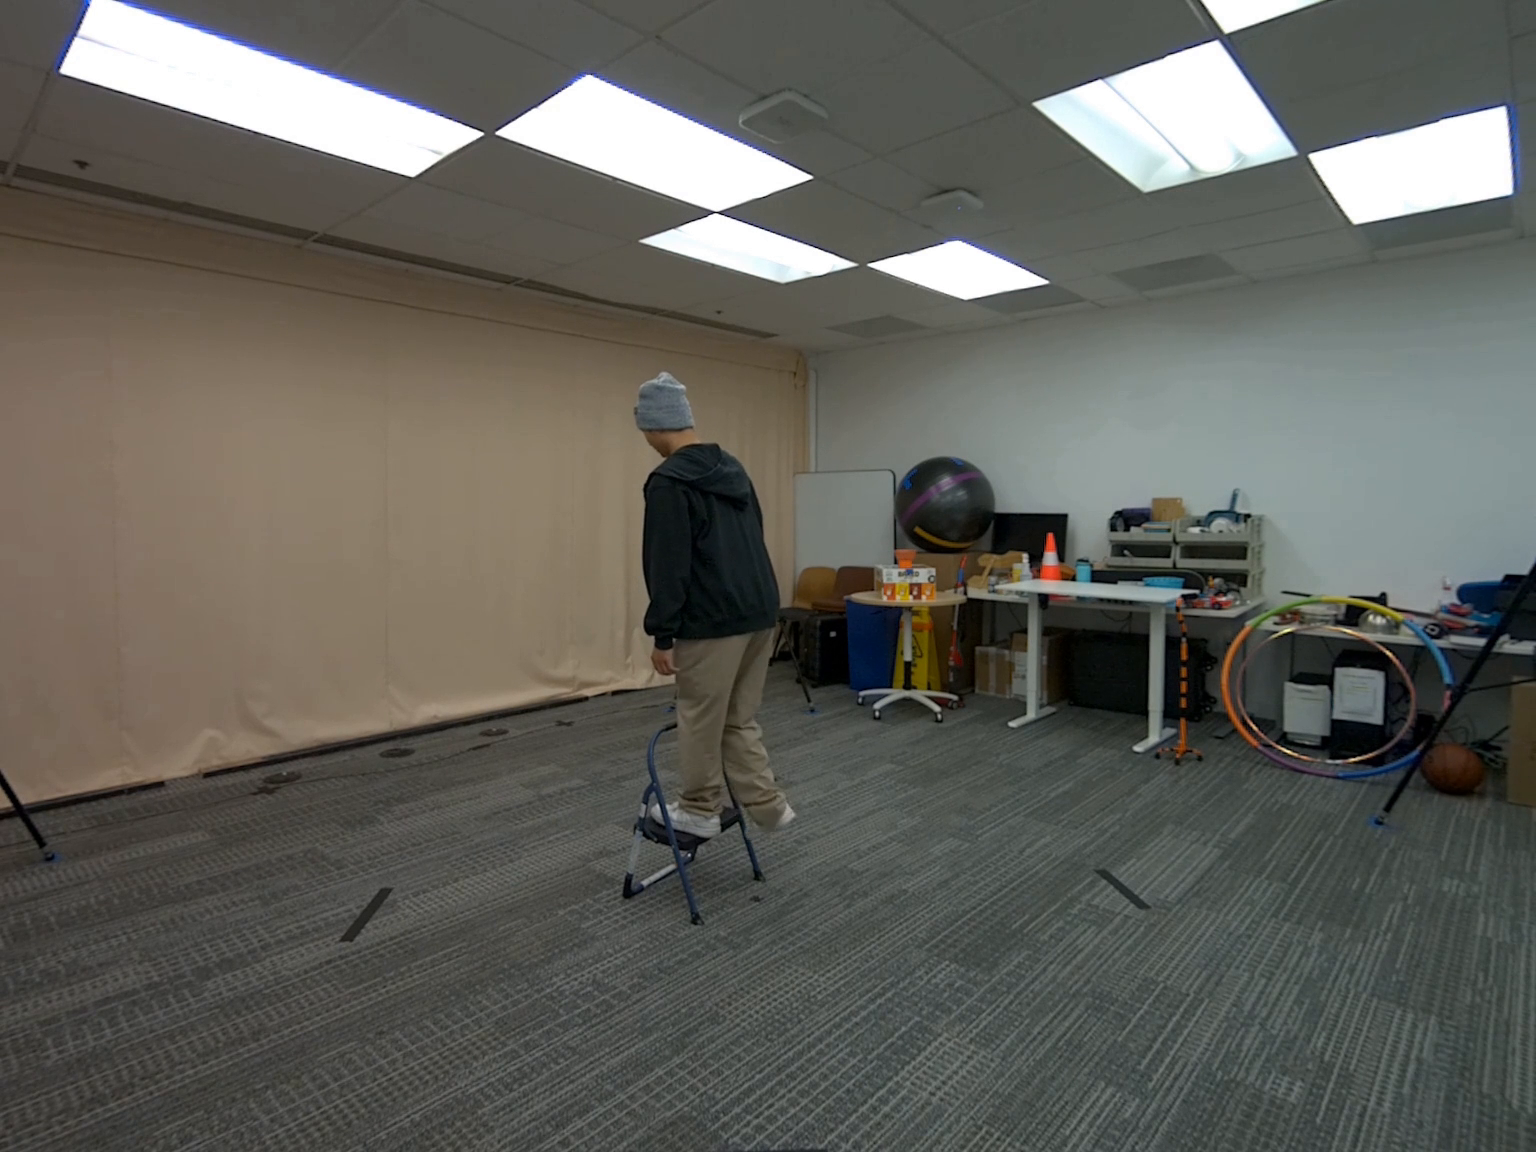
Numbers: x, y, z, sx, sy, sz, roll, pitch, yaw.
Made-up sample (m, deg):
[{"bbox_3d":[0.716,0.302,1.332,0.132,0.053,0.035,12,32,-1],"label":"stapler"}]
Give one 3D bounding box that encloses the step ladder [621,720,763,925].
[{"bbox_3d":[-0.269,0.838,3.054,0.360,0.605,0.419,1,3,32],"label":"step ladder"}]
